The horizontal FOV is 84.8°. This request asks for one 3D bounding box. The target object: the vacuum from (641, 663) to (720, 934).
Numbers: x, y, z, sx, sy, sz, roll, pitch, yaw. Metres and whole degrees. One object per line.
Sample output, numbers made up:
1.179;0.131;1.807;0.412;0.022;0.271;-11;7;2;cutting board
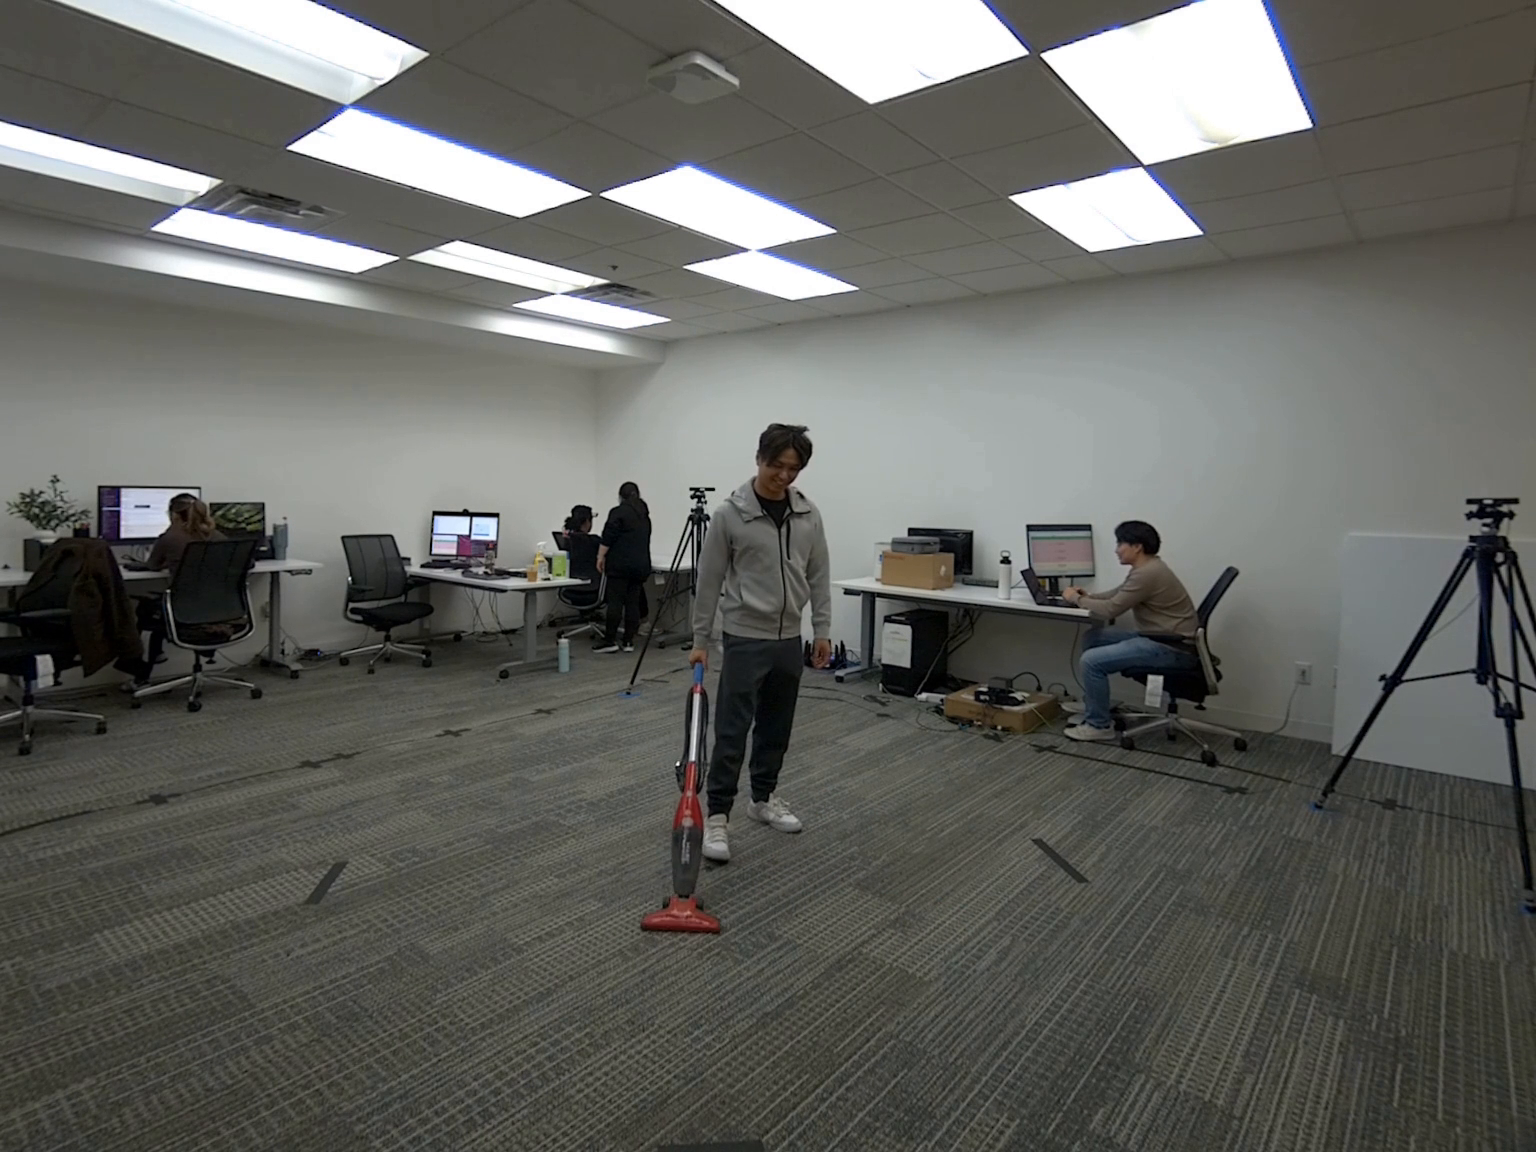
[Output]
-0.277;0.707;3.084;0.253;0.140;1.078;0;47;1;vacuum
